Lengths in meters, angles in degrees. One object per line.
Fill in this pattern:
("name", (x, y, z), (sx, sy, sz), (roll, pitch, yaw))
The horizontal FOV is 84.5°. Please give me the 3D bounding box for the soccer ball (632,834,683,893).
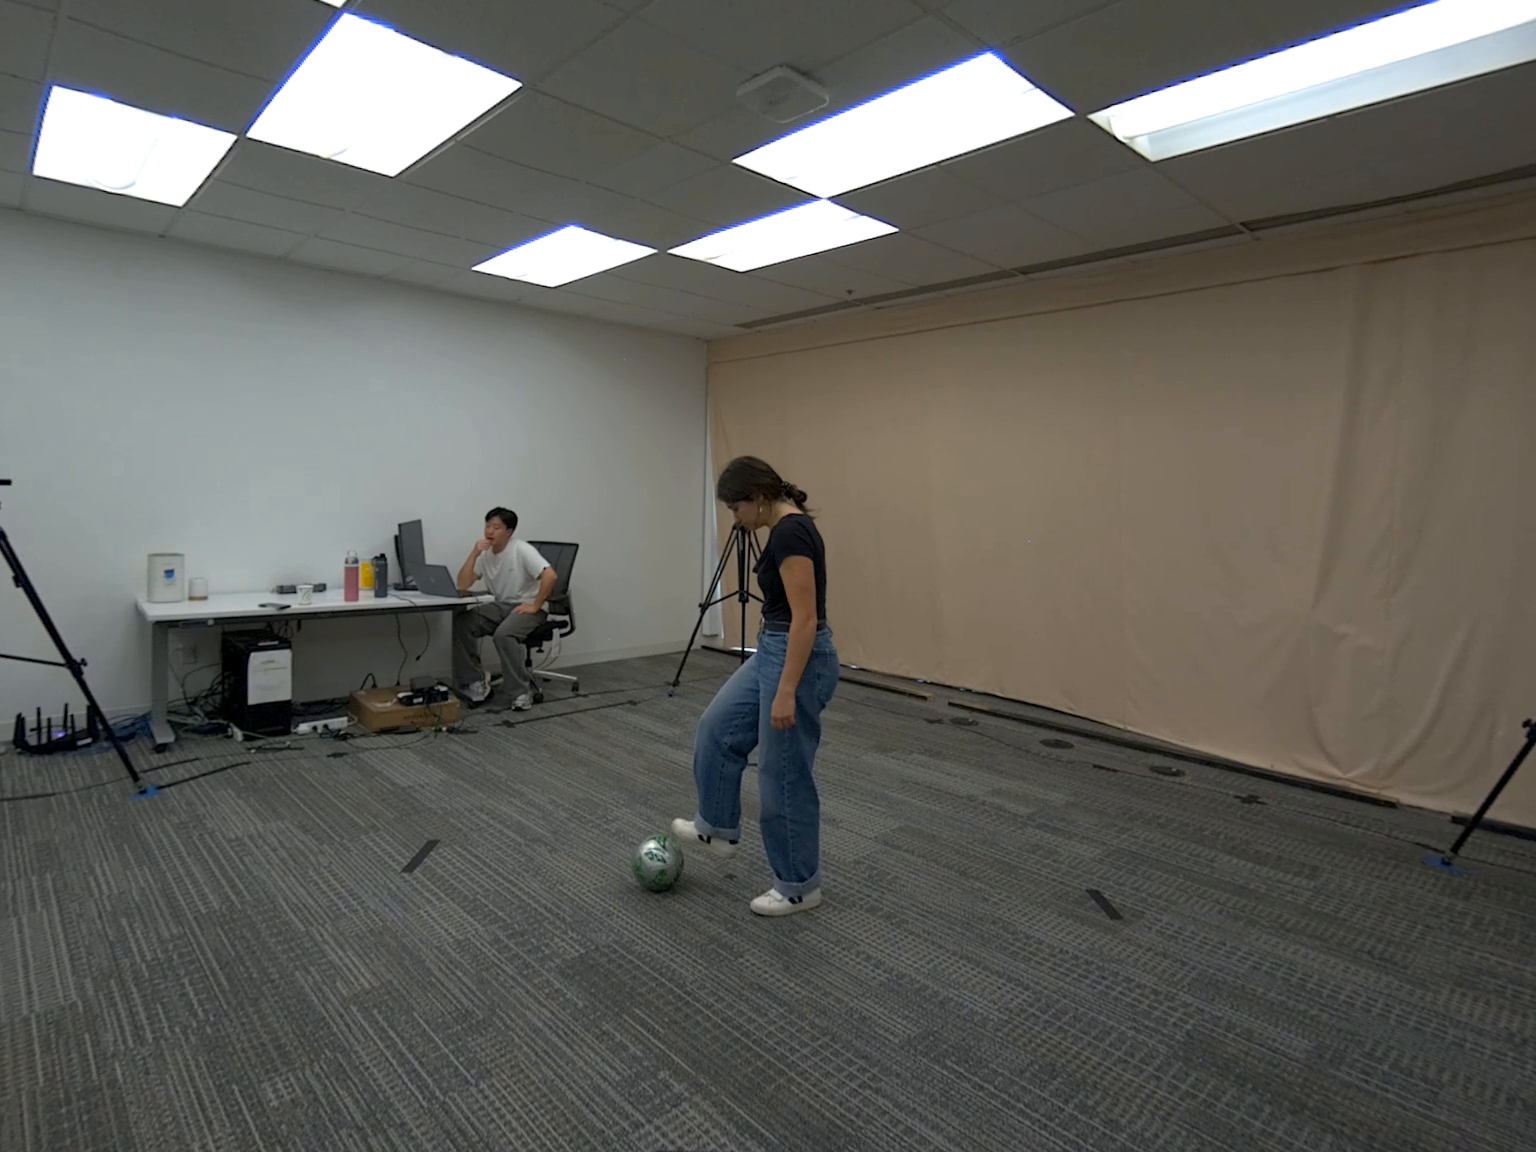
("soccer ball", (-0.393, 1.013, 2.999), (0.187, 0.187, 0.188), (1, 4, -1))
